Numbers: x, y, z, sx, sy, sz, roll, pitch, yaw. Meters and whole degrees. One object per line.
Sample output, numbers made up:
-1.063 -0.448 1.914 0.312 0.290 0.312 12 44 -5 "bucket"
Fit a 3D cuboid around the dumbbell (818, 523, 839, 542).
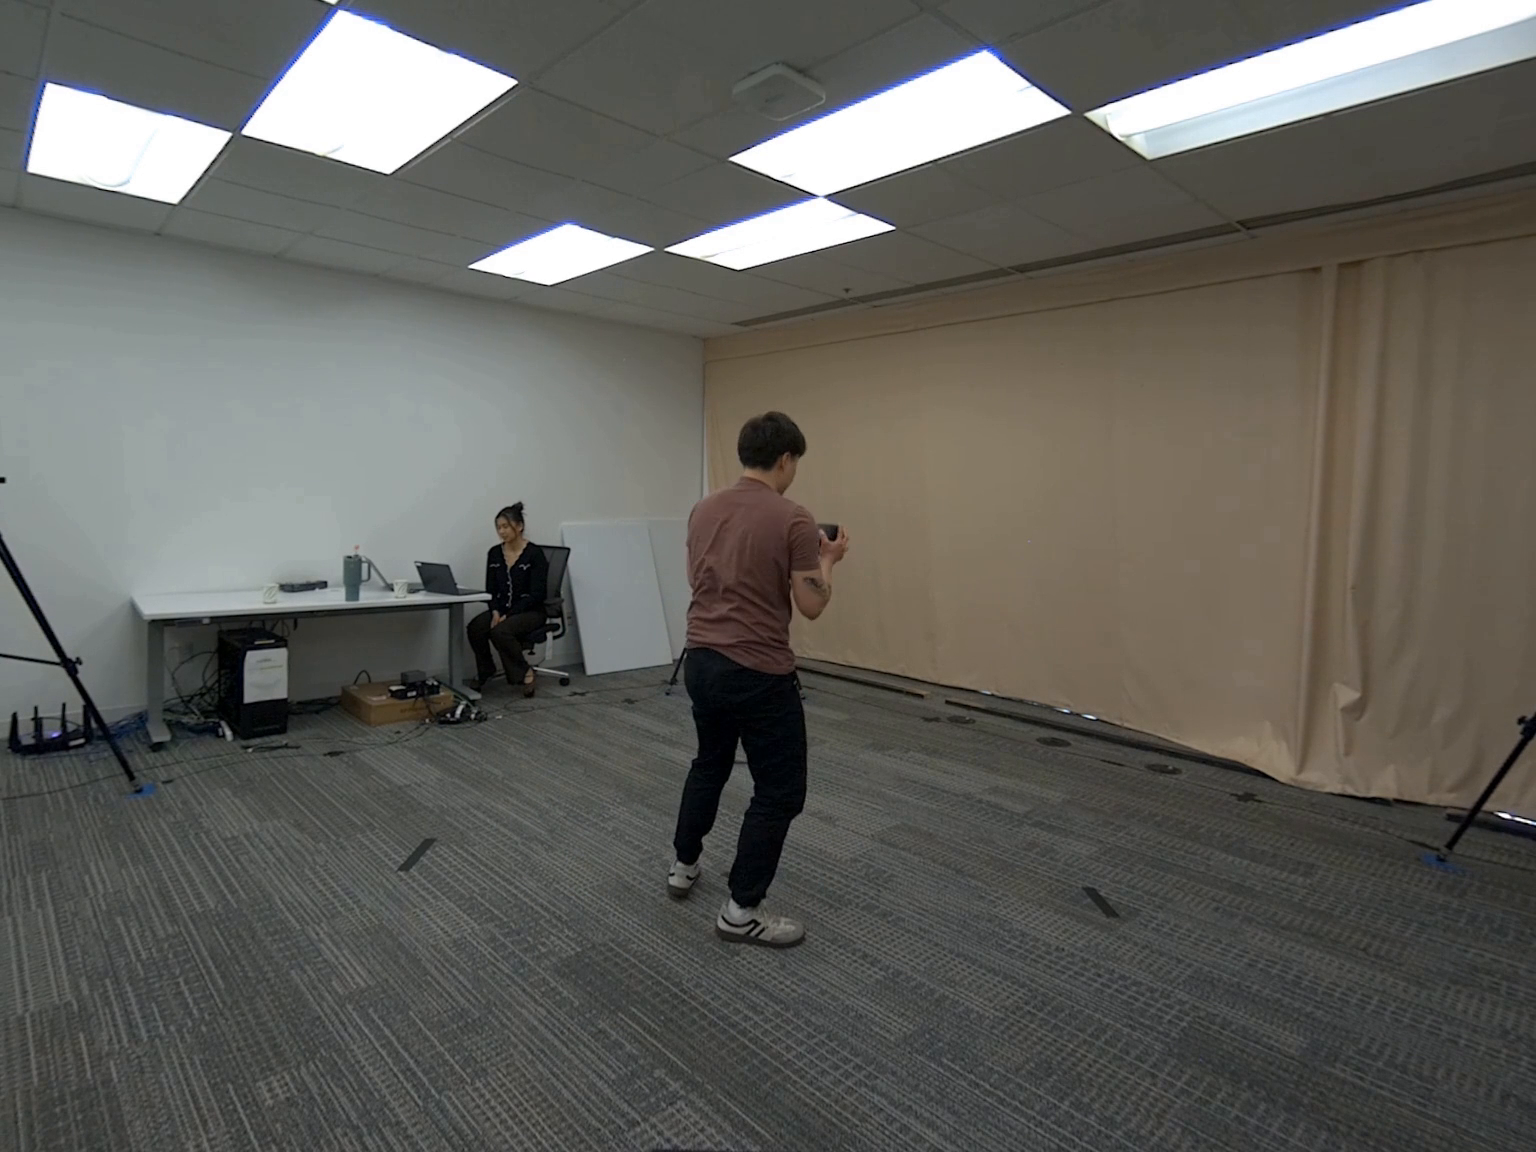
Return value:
0.105 -0.118 2.920 0.301 0.108 0.120 9 5 42 "dumbbell"
